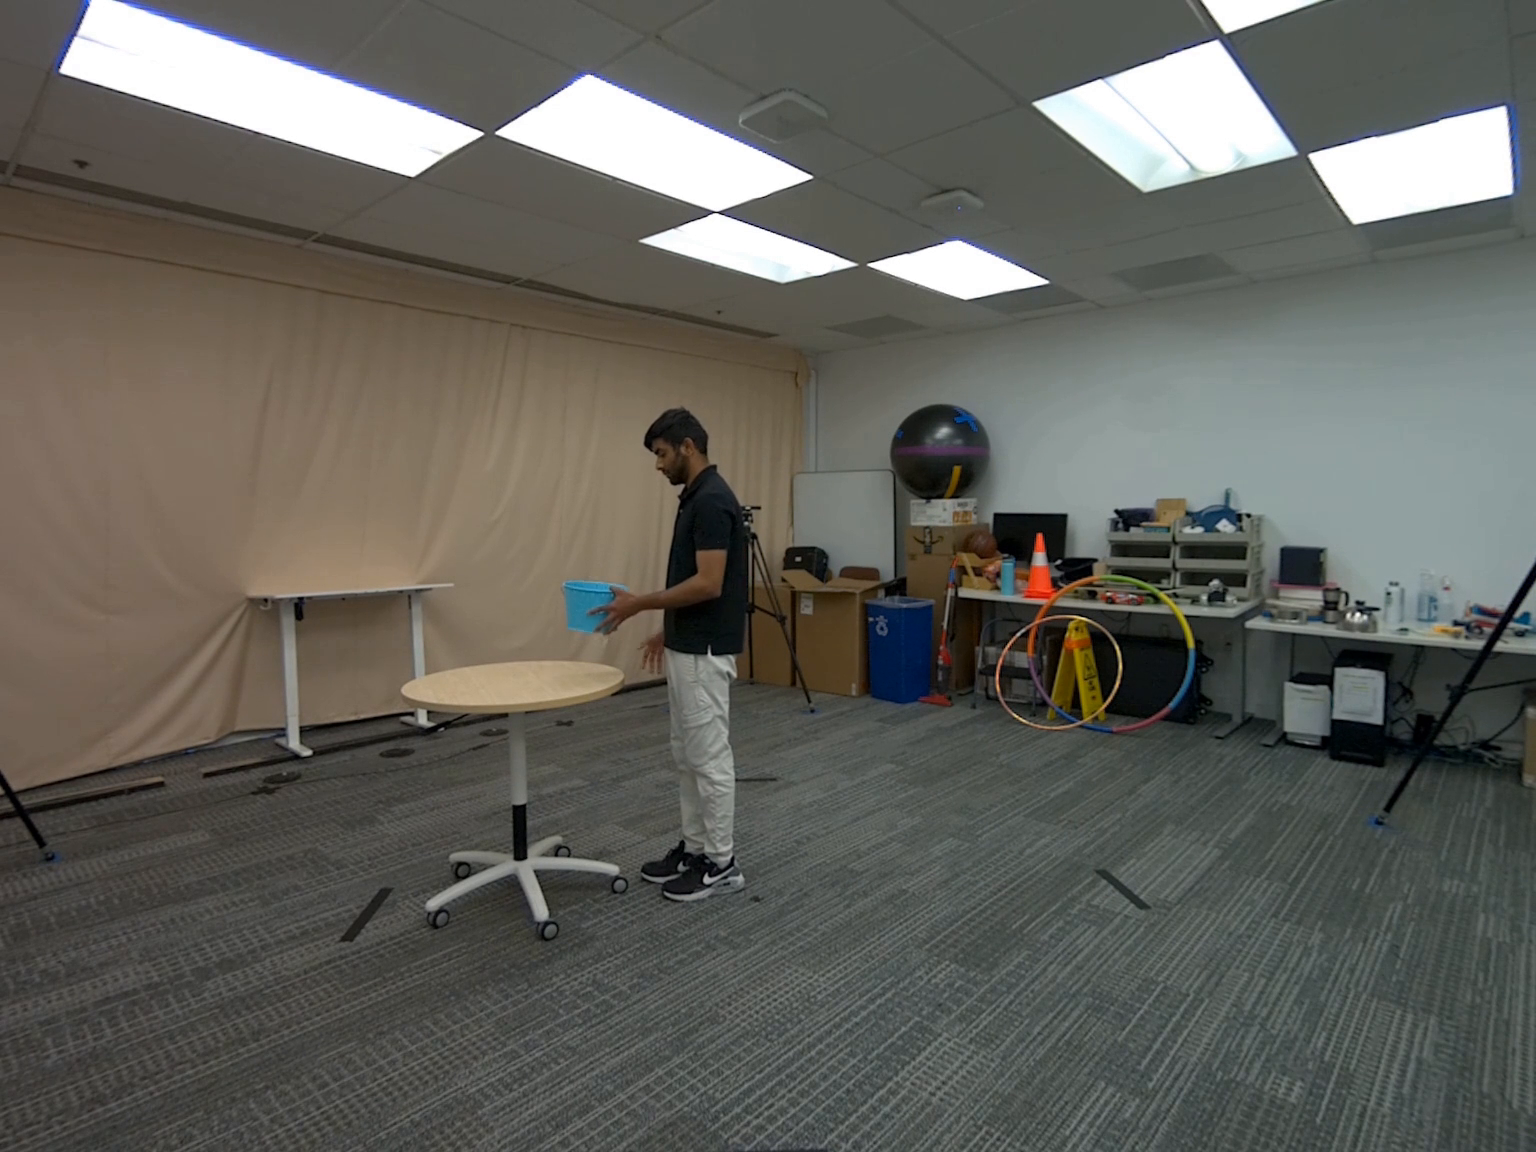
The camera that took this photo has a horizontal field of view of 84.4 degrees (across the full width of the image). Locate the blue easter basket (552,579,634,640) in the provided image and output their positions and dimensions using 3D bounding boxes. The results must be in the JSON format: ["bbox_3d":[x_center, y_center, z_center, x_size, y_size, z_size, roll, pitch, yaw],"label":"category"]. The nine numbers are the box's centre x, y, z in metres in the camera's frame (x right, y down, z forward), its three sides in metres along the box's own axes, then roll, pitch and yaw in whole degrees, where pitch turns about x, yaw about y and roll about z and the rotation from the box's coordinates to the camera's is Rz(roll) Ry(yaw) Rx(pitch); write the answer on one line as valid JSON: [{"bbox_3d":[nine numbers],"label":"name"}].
[{"bbox_3d":[-0.611,0.112,2.982,0.243,0.155,0.245,4,7,-2],"label":"blue easter basket"}]
